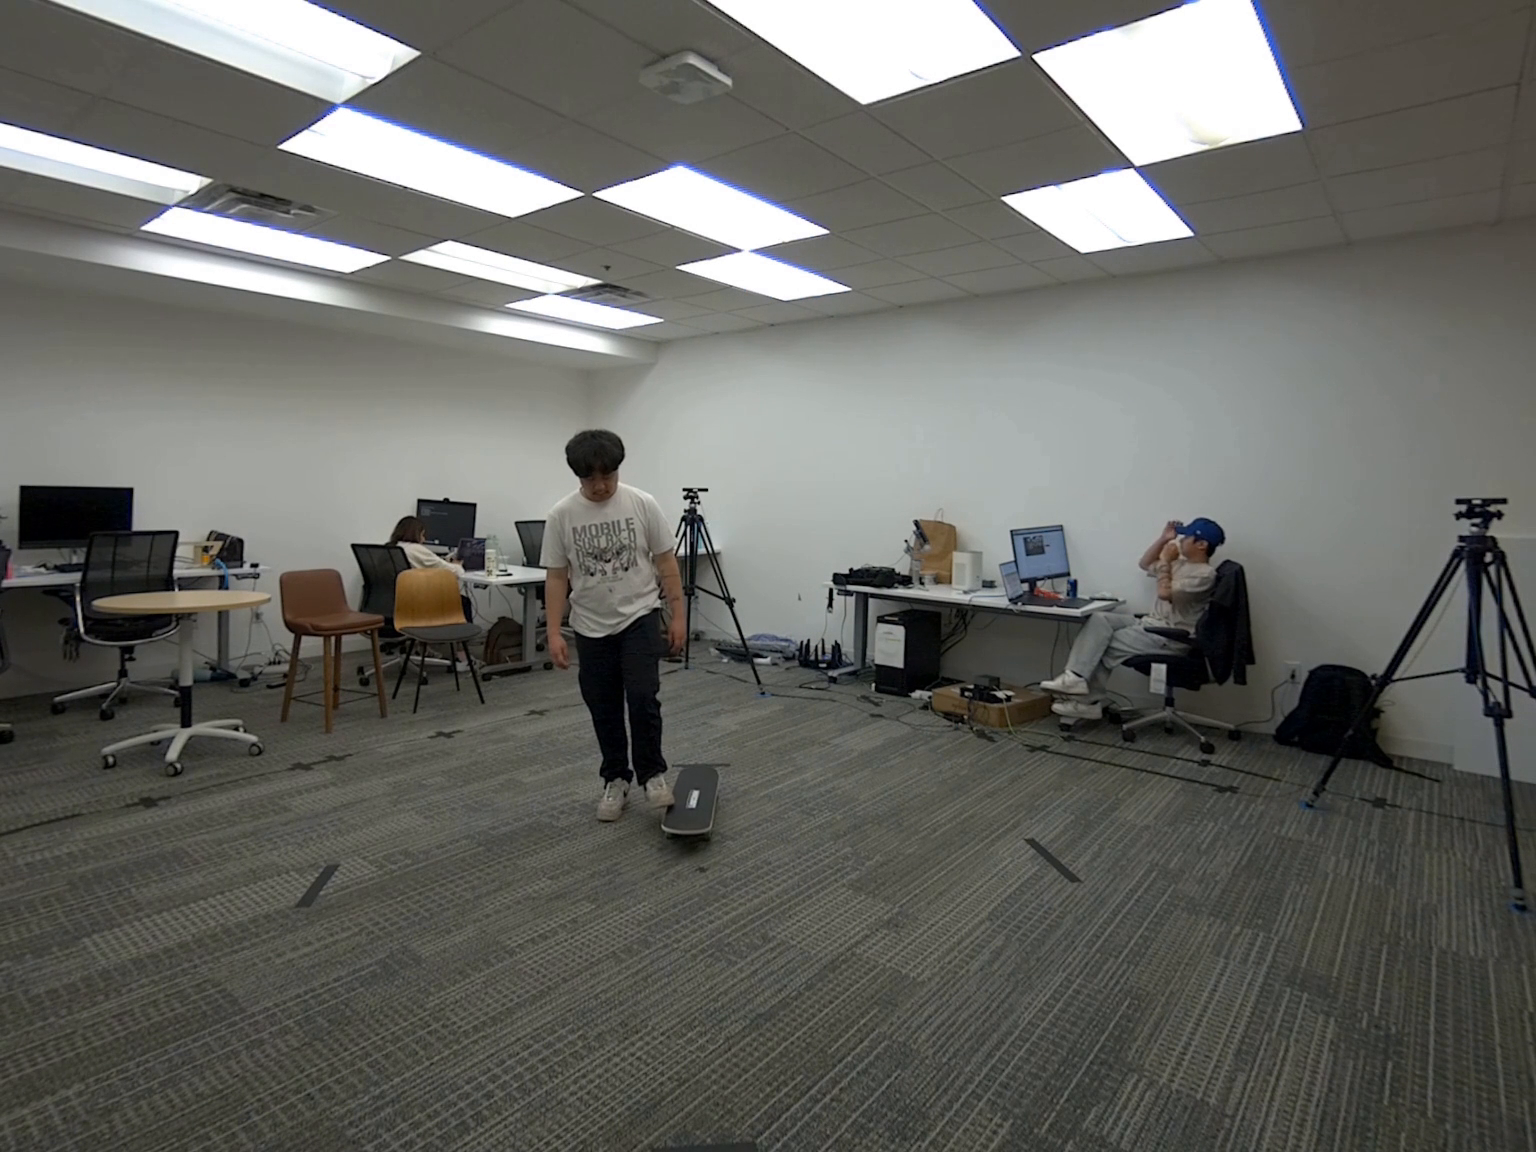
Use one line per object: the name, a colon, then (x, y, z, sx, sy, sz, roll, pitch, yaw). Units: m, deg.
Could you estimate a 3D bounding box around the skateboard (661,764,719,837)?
skateboard: (-0.323, 0.965, 3.570, 0.194, 0.110, 0.786, 0, 6, 1)
